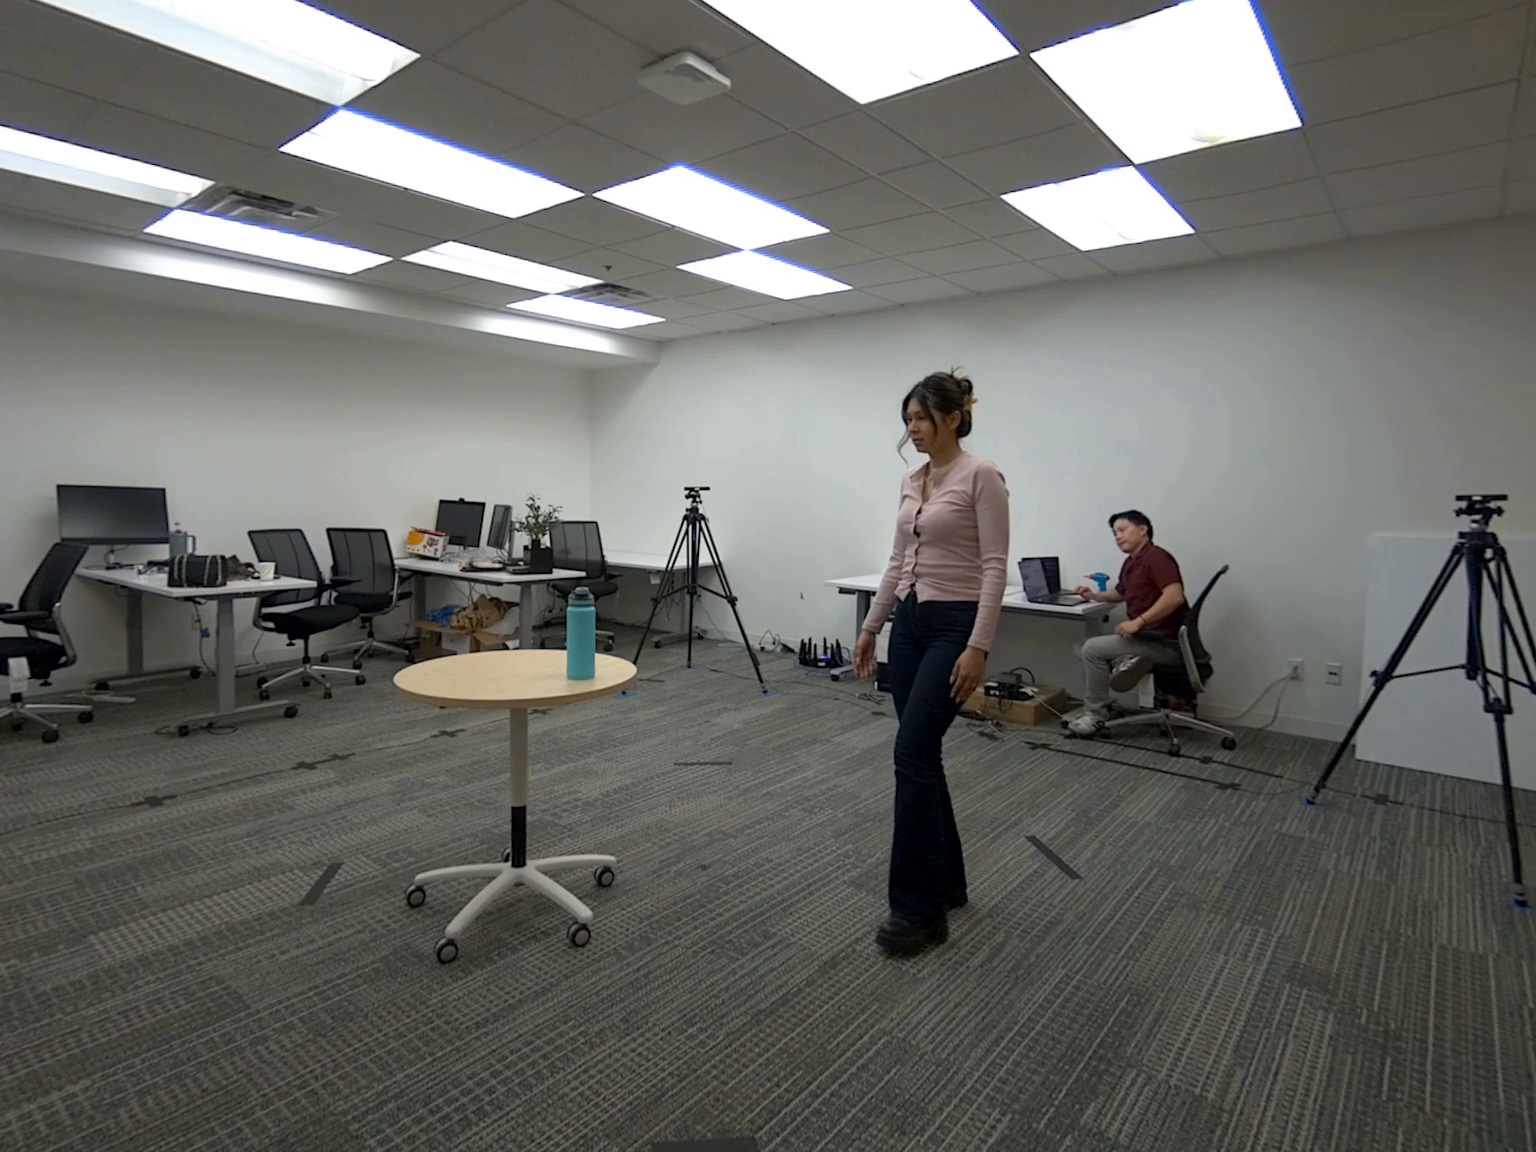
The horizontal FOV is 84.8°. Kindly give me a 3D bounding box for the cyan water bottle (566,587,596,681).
[{"bbox_3d":[-0.603,0.179,2.680,0.092,0.282,0.093,1,4,-2],"label":"cyan water bottle"}]
